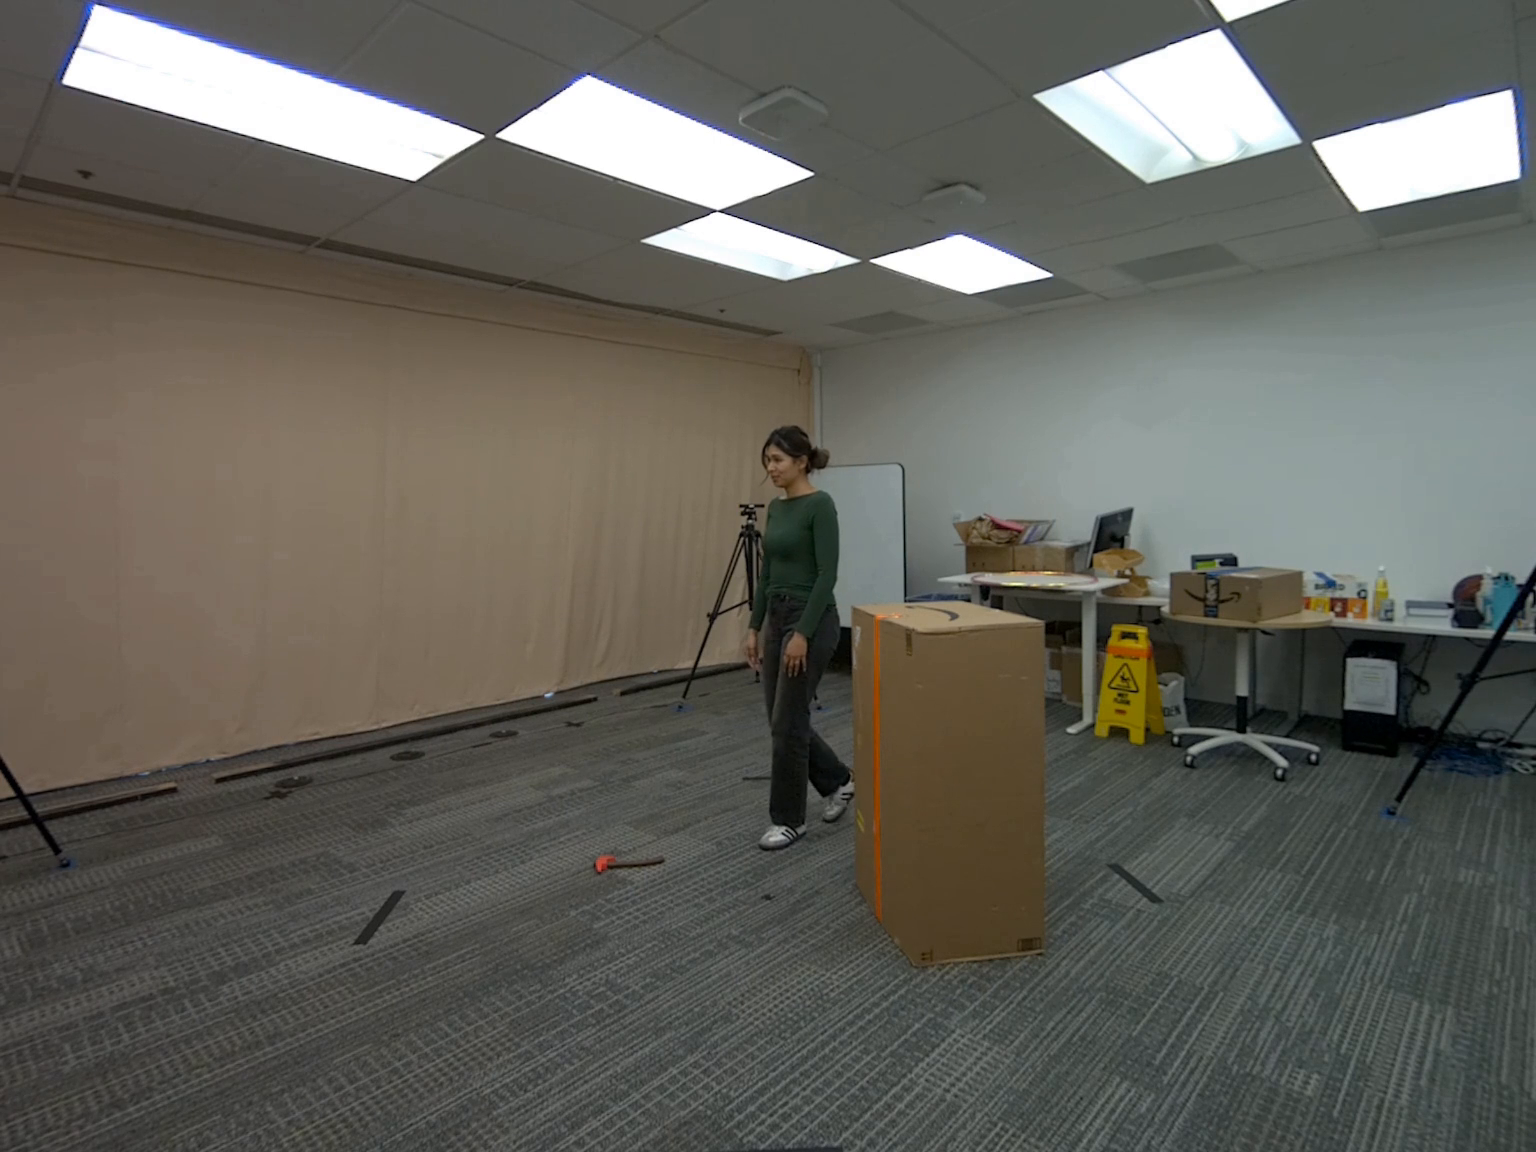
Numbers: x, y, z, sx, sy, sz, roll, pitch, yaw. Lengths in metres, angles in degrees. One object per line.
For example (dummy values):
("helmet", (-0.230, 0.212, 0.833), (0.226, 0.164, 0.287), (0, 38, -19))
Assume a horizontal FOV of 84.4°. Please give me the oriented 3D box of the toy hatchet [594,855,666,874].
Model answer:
("toy hatchet", (-0.540, 1.109, 3.294), (0.264, 0.029, 0.134), (-2, 3, -22))
